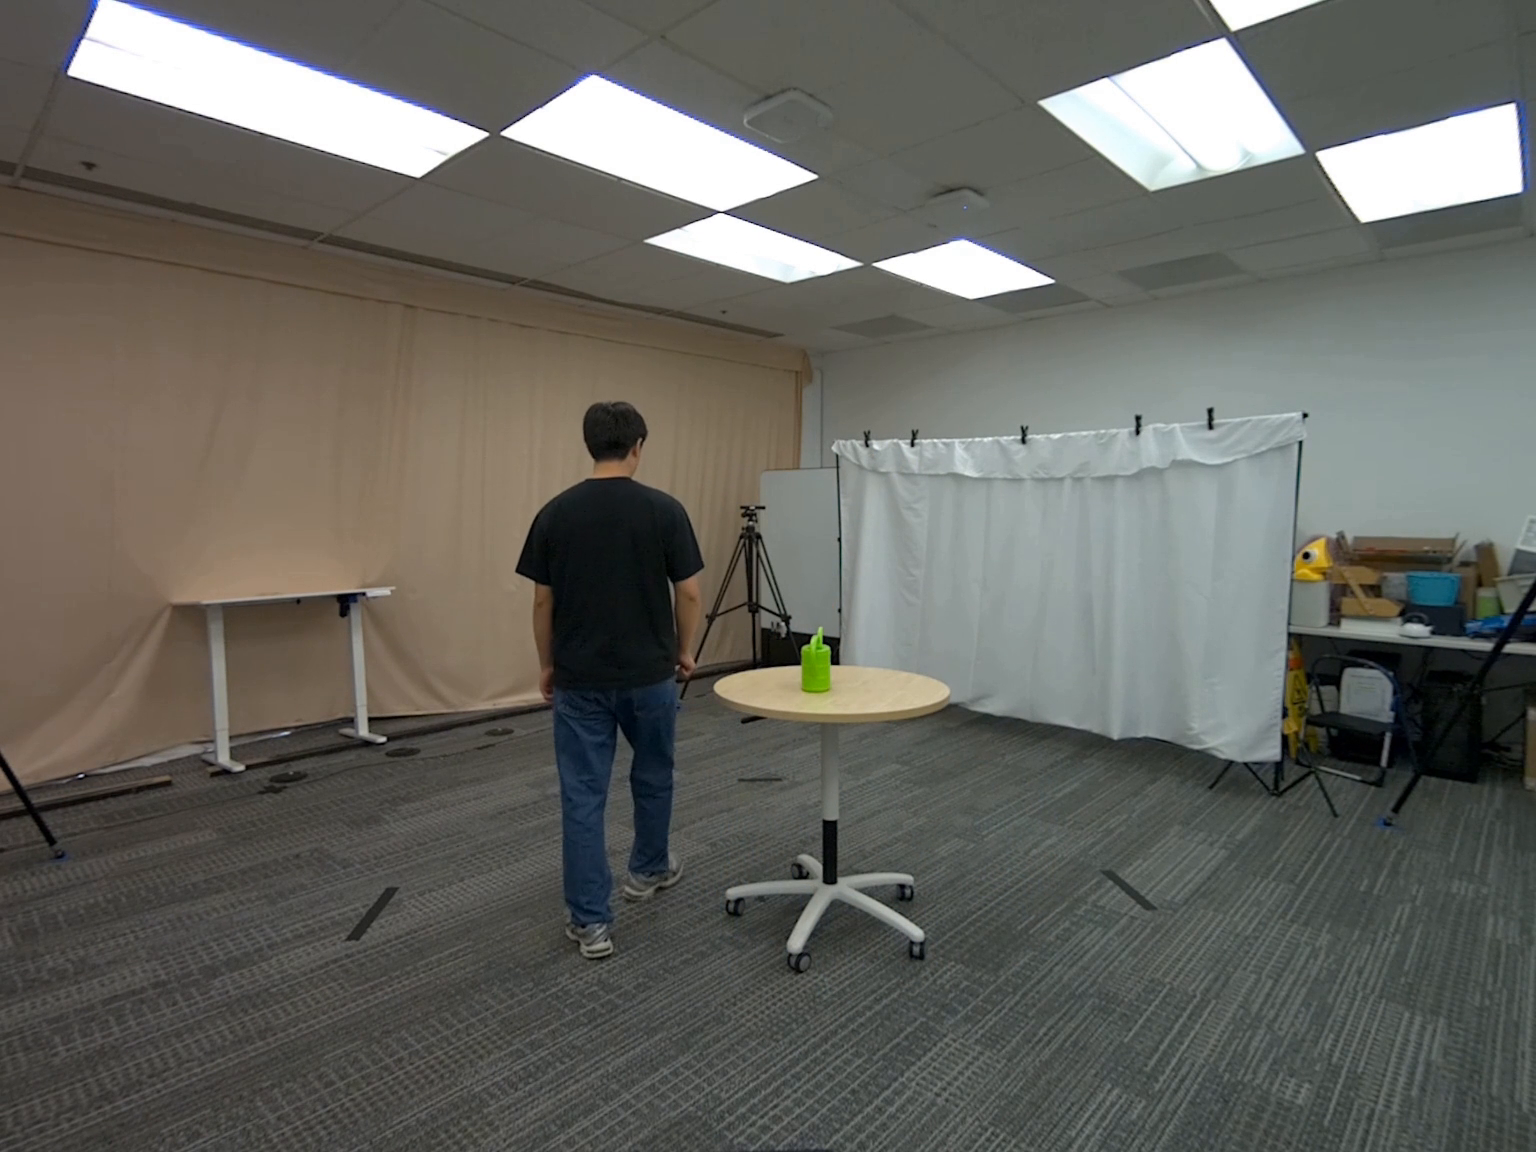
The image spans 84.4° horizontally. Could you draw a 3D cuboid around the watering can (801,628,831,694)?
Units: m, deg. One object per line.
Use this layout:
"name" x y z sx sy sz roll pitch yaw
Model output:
"watering can" 0.181 0.283 2.758 0.101 0.176 0.272 2 7 26
